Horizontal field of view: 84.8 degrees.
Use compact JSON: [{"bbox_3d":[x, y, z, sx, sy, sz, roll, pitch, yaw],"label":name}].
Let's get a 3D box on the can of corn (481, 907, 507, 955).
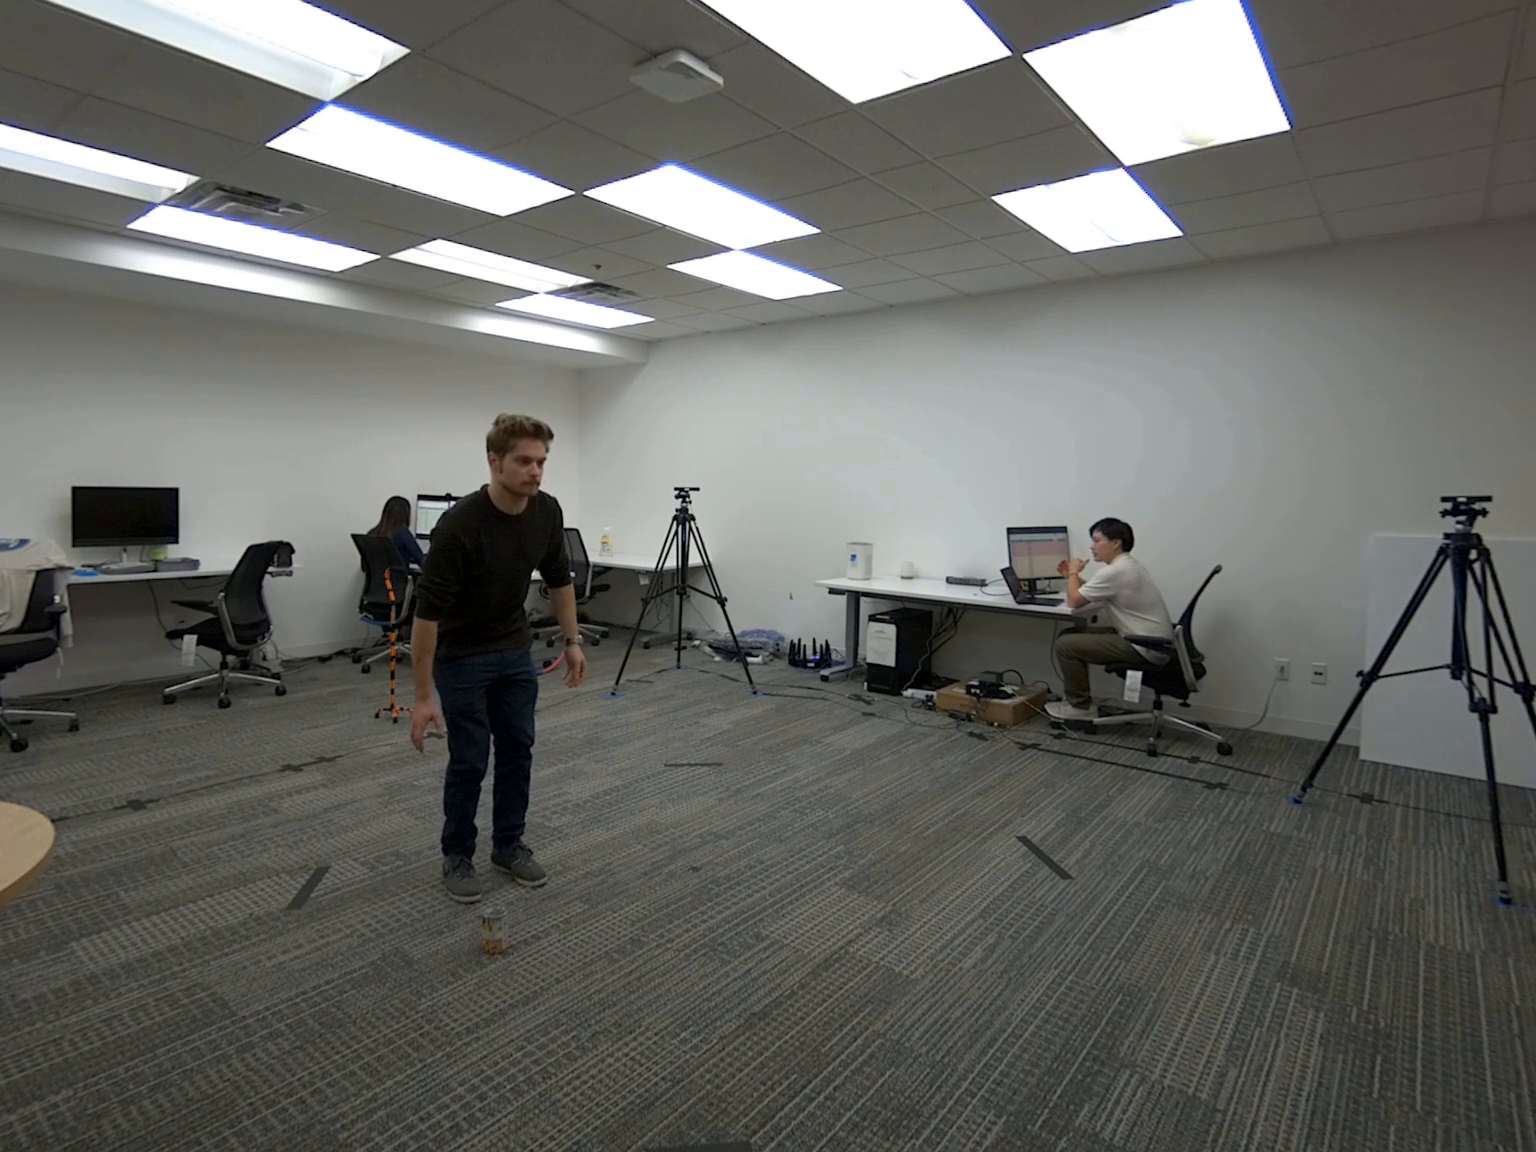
[{"bbox_3d":[-0.825,1.065,2.547,0.074,0.110,0.074,0,5,-2],"label":"can of corn"}]
